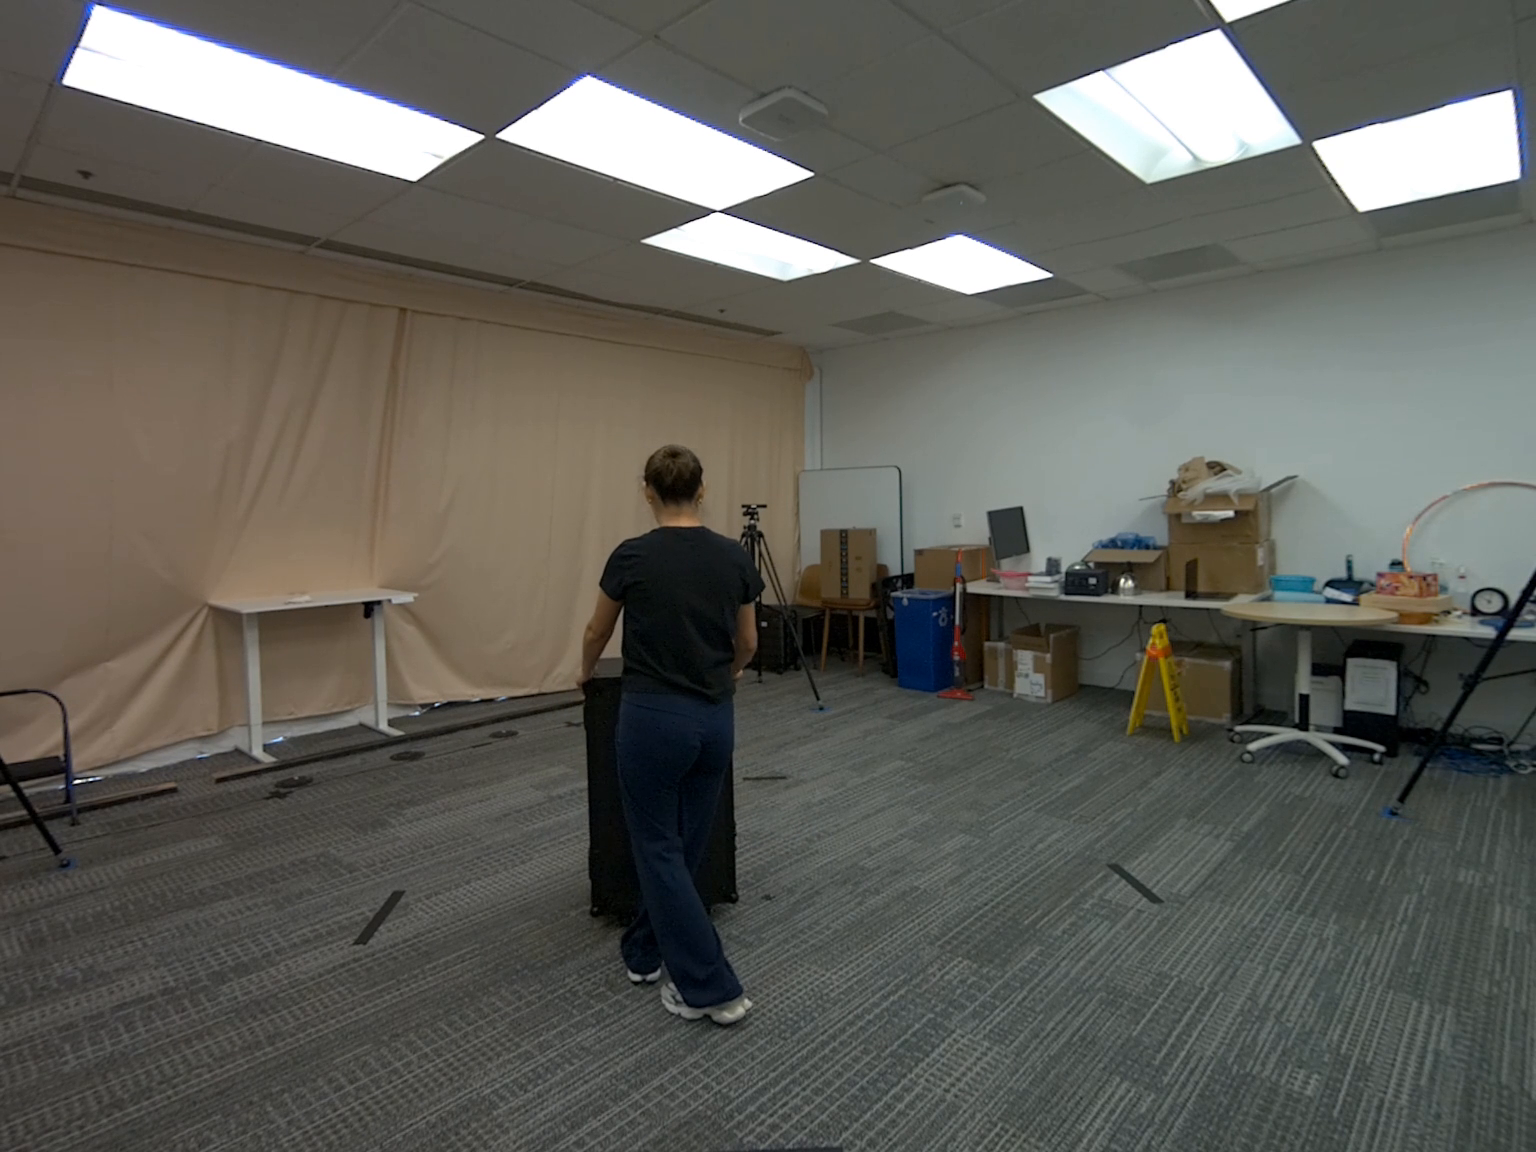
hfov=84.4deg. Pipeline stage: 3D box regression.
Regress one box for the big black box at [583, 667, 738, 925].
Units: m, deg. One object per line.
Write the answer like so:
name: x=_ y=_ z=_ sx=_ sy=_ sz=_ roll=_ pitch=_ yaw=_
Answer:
big black box: x=-0.375 y=0.729 z=2.927 sx=0.516 sy=0.860 sz=0.401 roll=-2 pitch=2 yaw=-9
